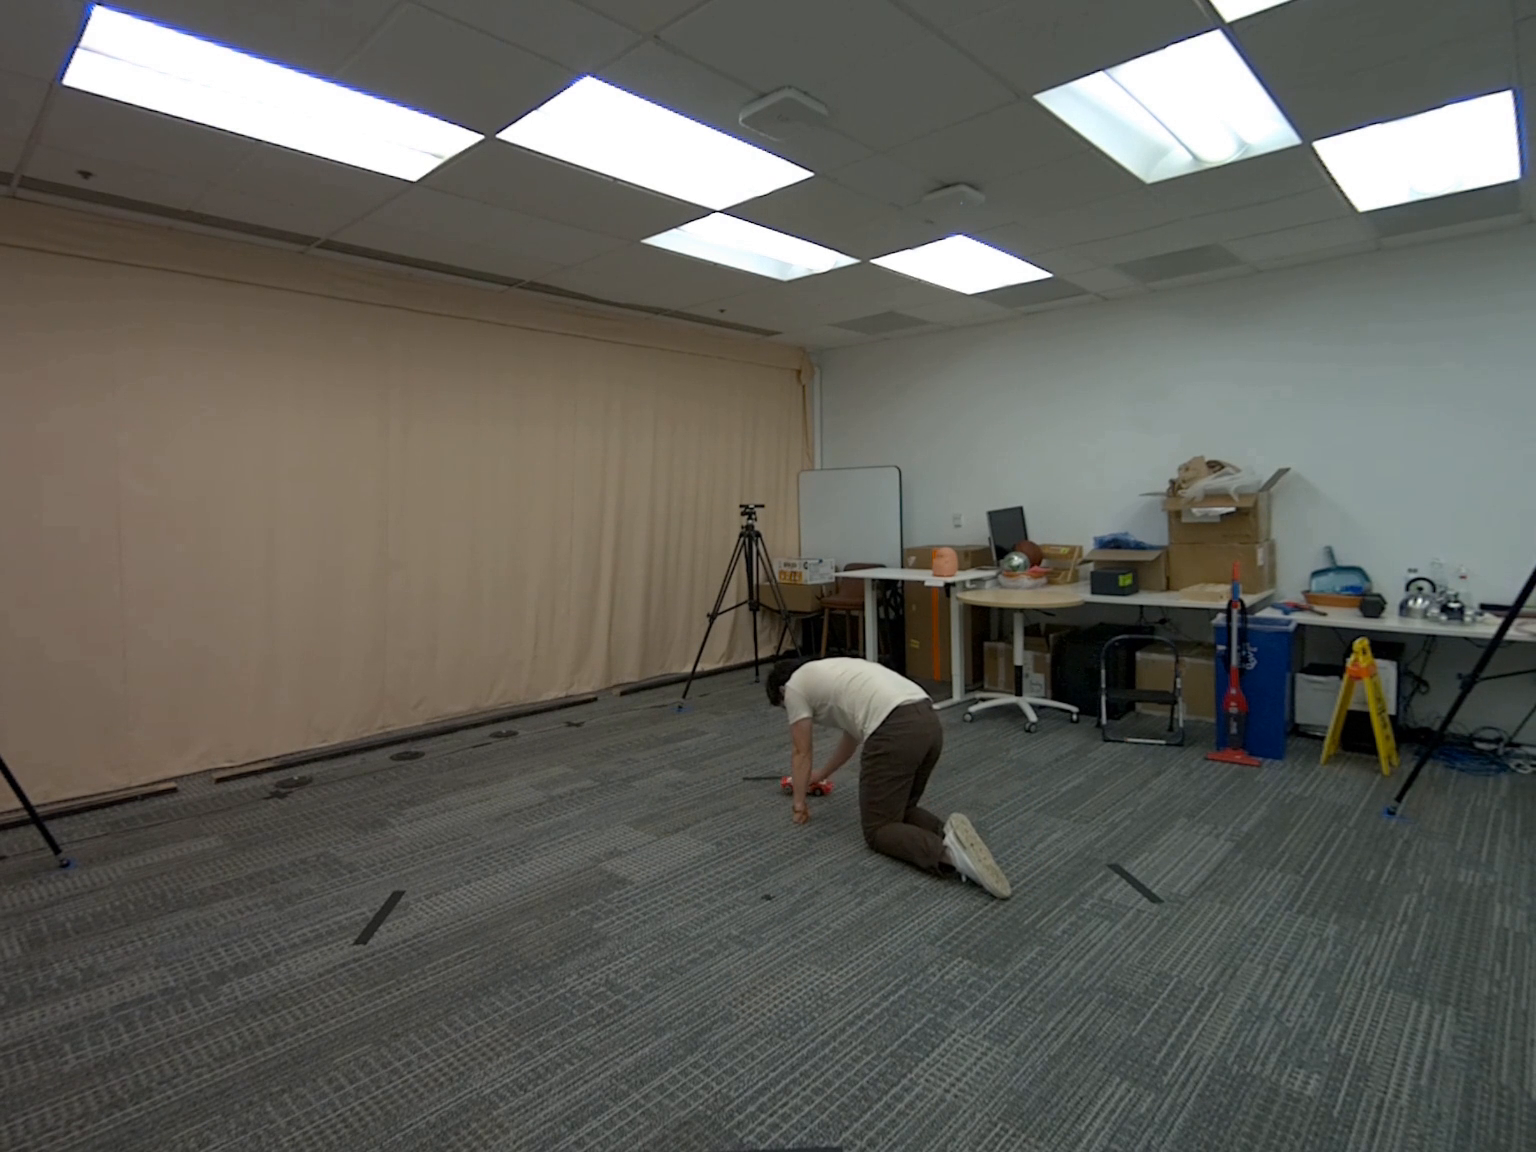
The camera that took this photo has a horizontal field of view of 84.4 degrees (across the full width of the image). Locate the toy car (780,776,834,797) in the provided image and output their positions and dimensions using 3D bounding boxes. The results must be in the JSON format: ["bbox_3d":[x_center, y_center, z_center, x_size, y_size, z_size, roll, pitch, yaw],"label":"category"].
[{"bbox_3d":[0.192,1.012,4.062,0.256,0.083,0.130,-4,2,5],"label":"toy car"}]
